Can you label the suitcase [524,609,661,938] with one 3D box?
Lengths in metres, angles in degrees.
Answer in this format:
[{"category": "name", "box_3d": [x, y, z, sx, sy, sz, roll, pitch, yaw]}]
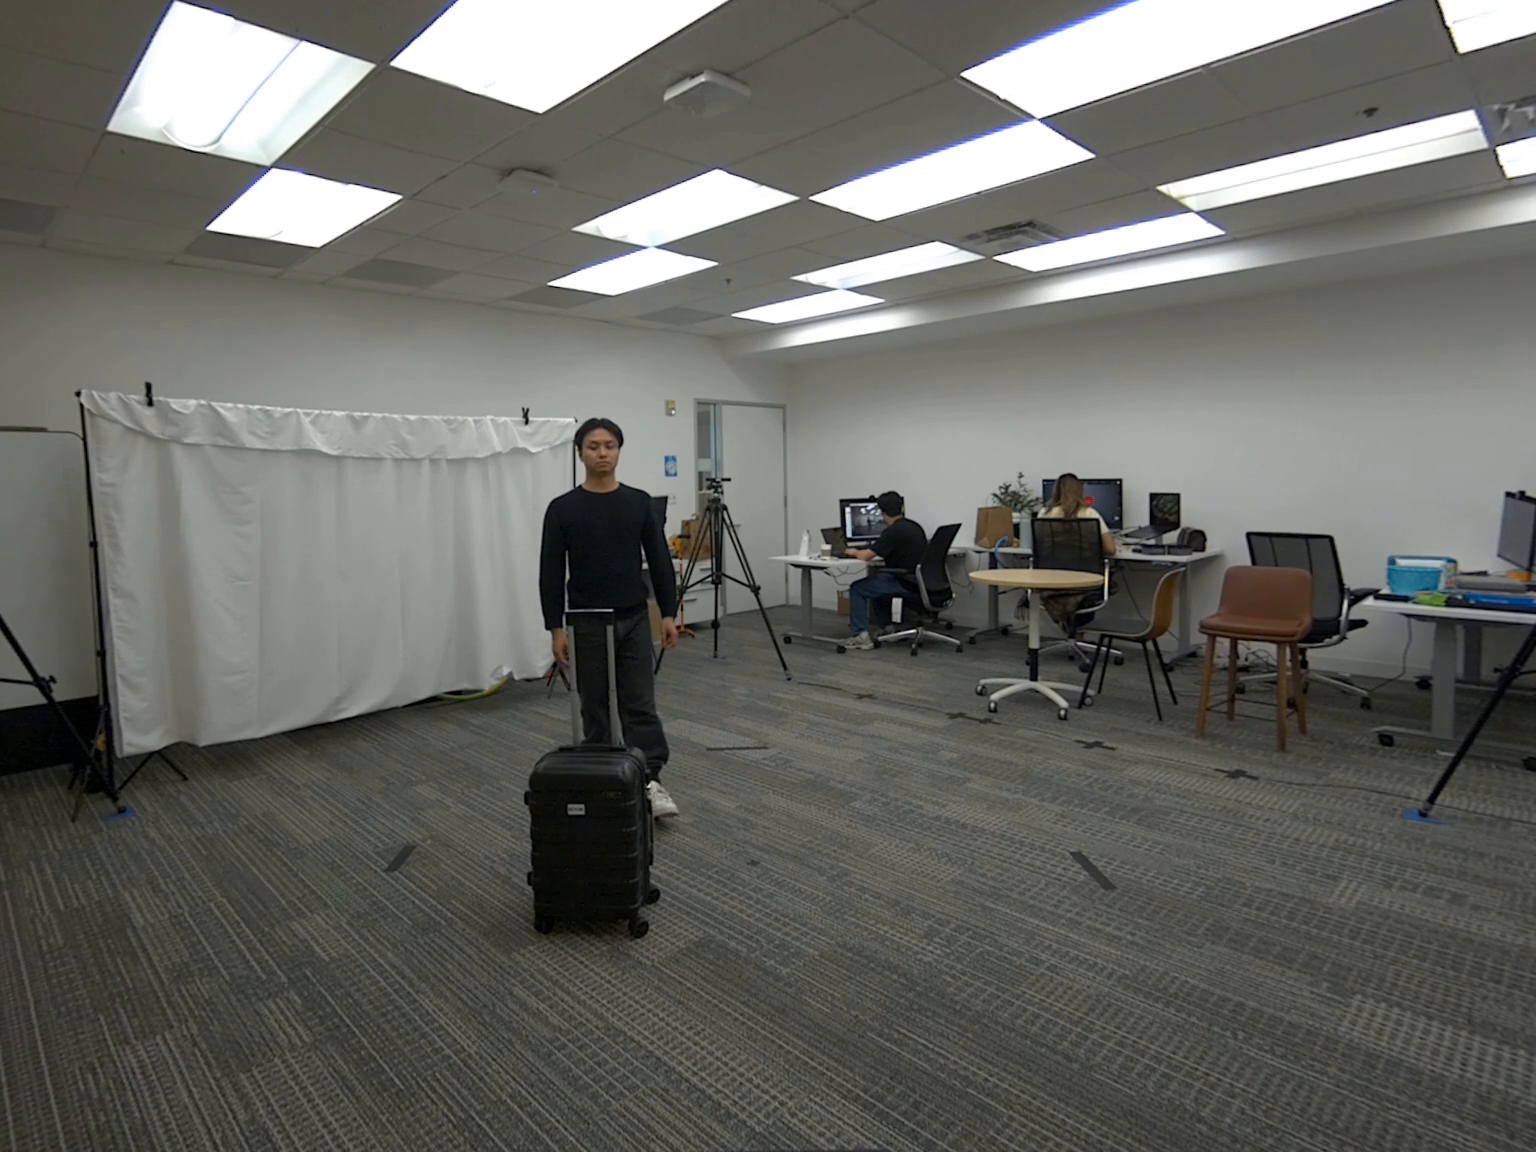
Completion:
[{"category": "suitcase", "box_3d": [-0.564, 0.623, 2.703, 0.387, 0.973, 0.256, -2, 6, 8]}]
